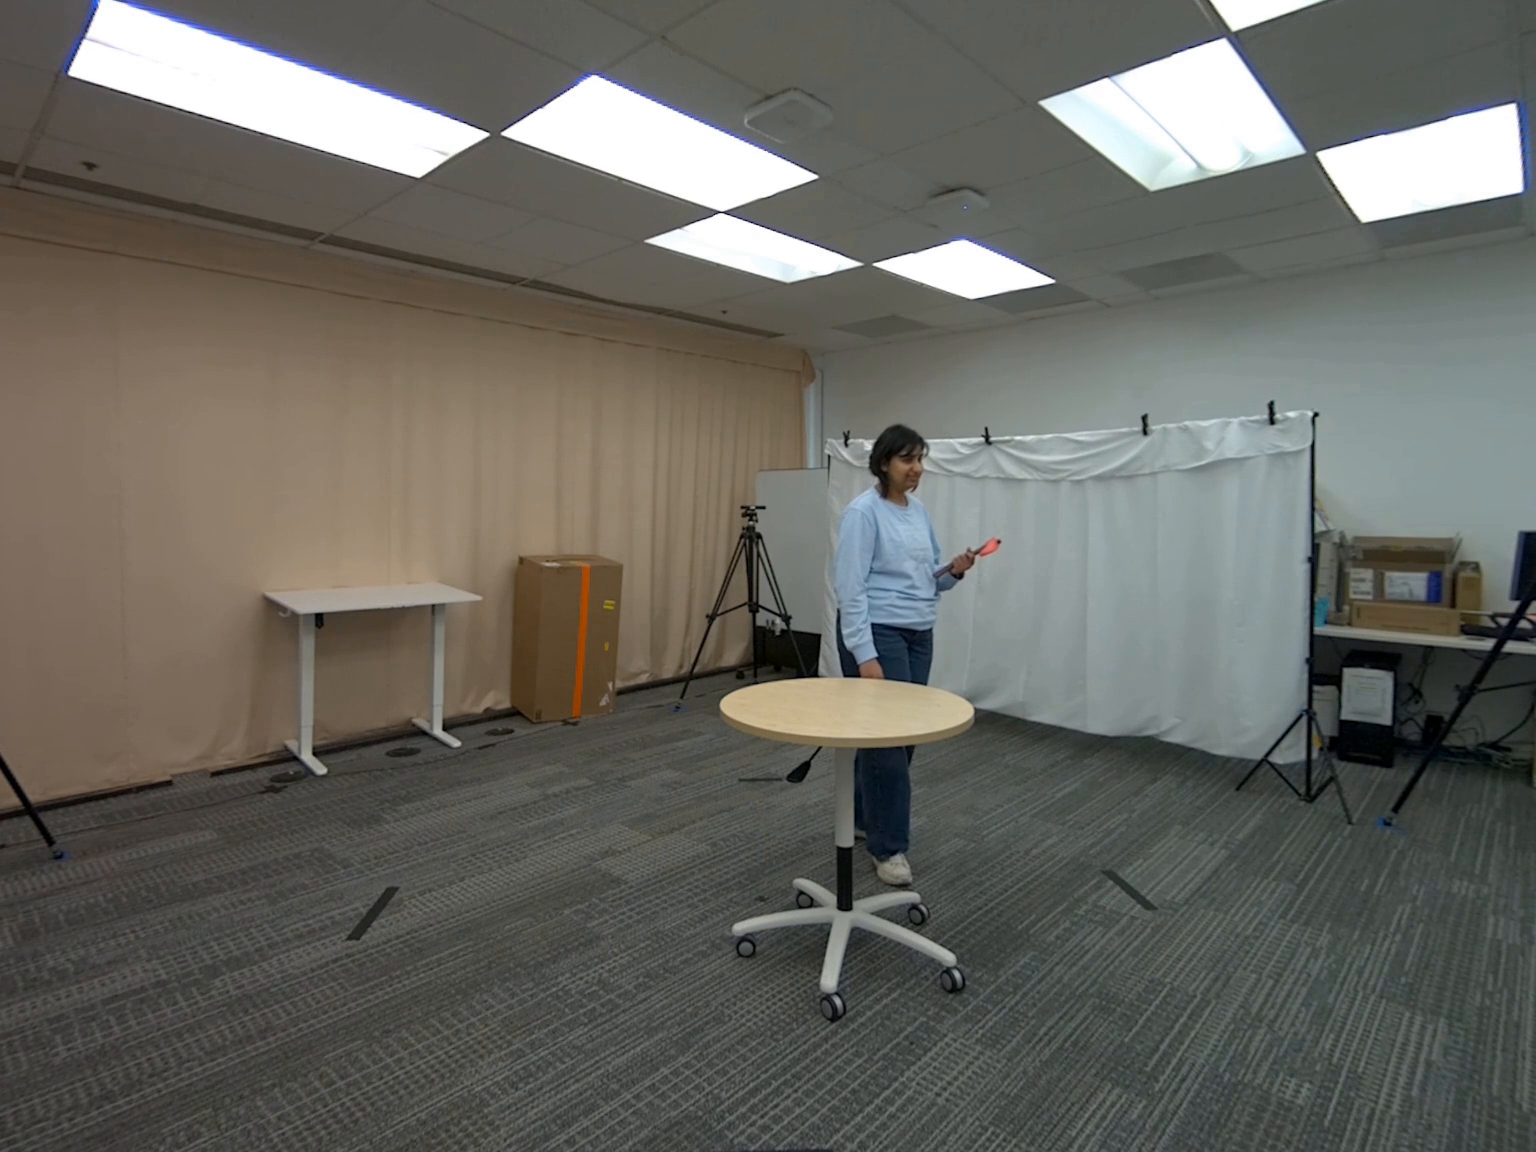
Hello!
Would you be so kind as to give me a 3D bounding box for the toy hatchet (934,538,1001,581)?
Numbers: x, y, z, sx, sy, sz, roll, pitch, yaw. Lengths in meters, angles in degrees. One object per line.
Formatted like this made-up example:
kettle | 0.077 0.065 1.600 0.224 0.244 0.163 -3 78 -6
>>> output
toy hatchet | 0.751 -0.059 3.115 0.271 0.029 0.132 -31 15 8
